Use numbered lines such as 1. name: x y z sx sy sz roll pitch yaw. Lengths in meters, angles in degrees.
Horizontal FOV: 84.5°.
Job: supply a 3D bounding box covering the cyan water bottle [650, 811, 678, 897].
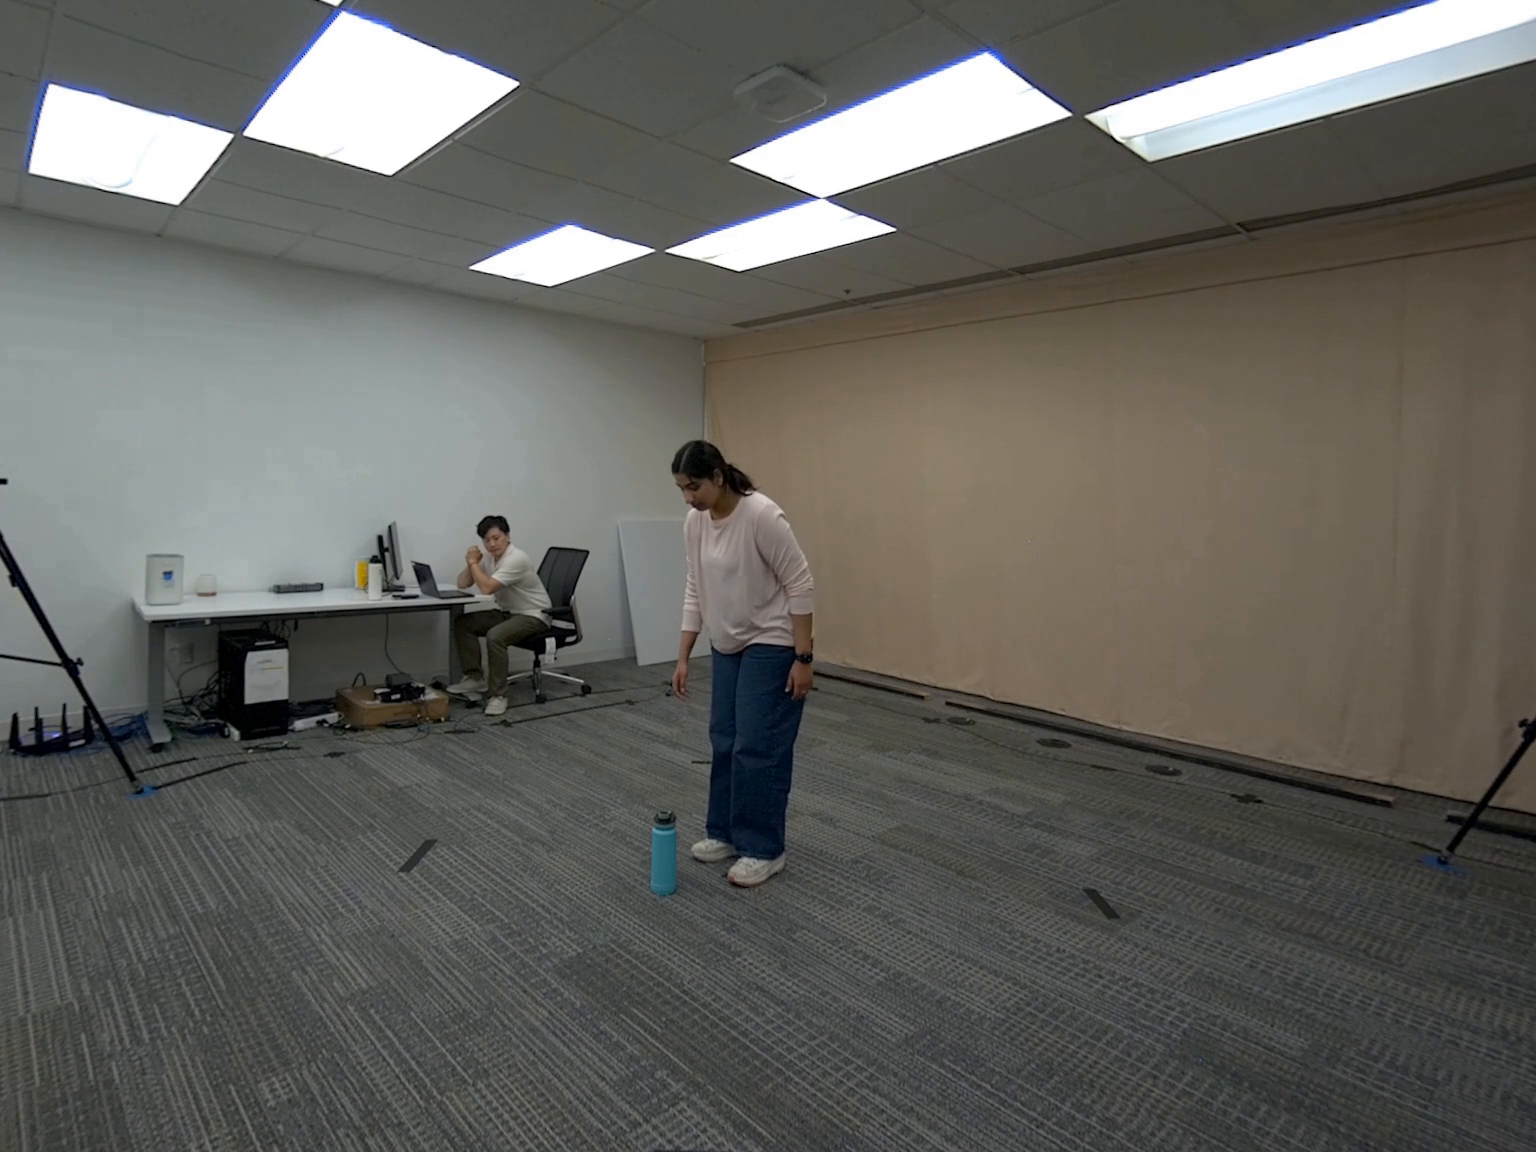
1. cyan water bottle: -0.373 0.975 2.978 0.092 0.283 0.092 2 3 -1
